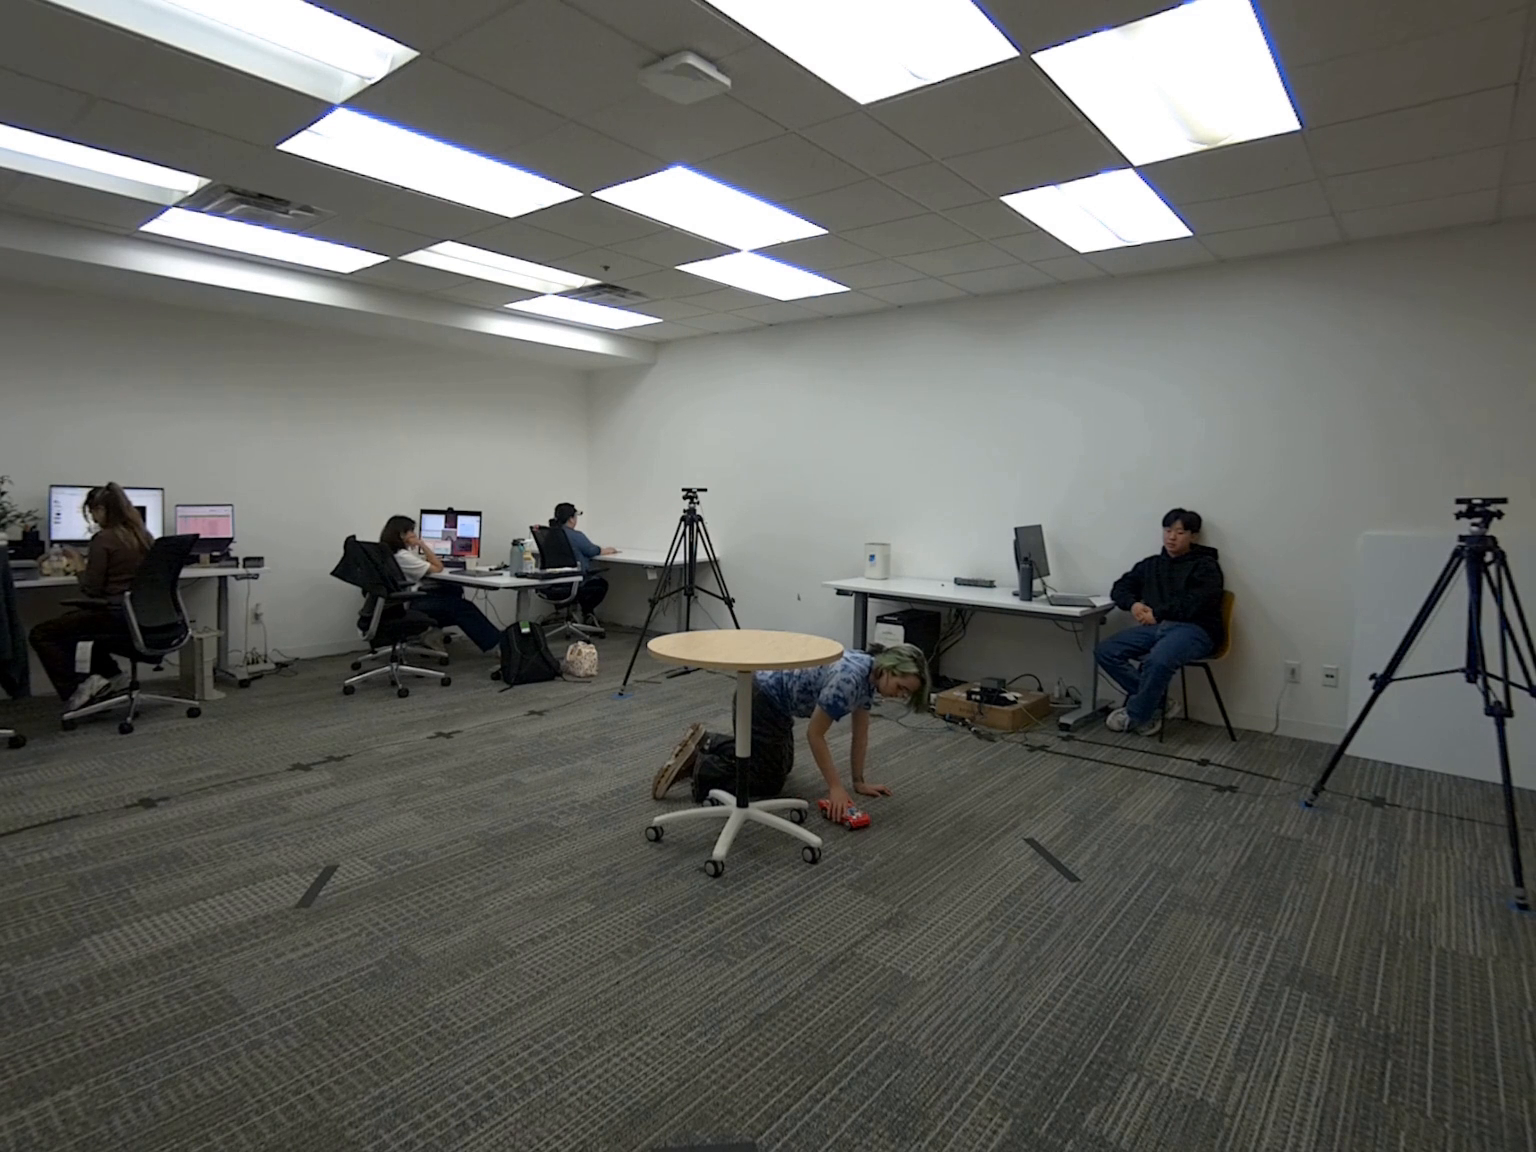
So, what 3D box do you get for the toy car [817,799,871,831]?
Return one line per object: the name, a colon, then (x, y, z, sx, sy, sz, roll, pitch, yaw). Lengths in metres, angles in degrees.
toy car: (0.311, 1.002, 3.613, 0.126, 0.082, 0.265, -1, 17, -35)
